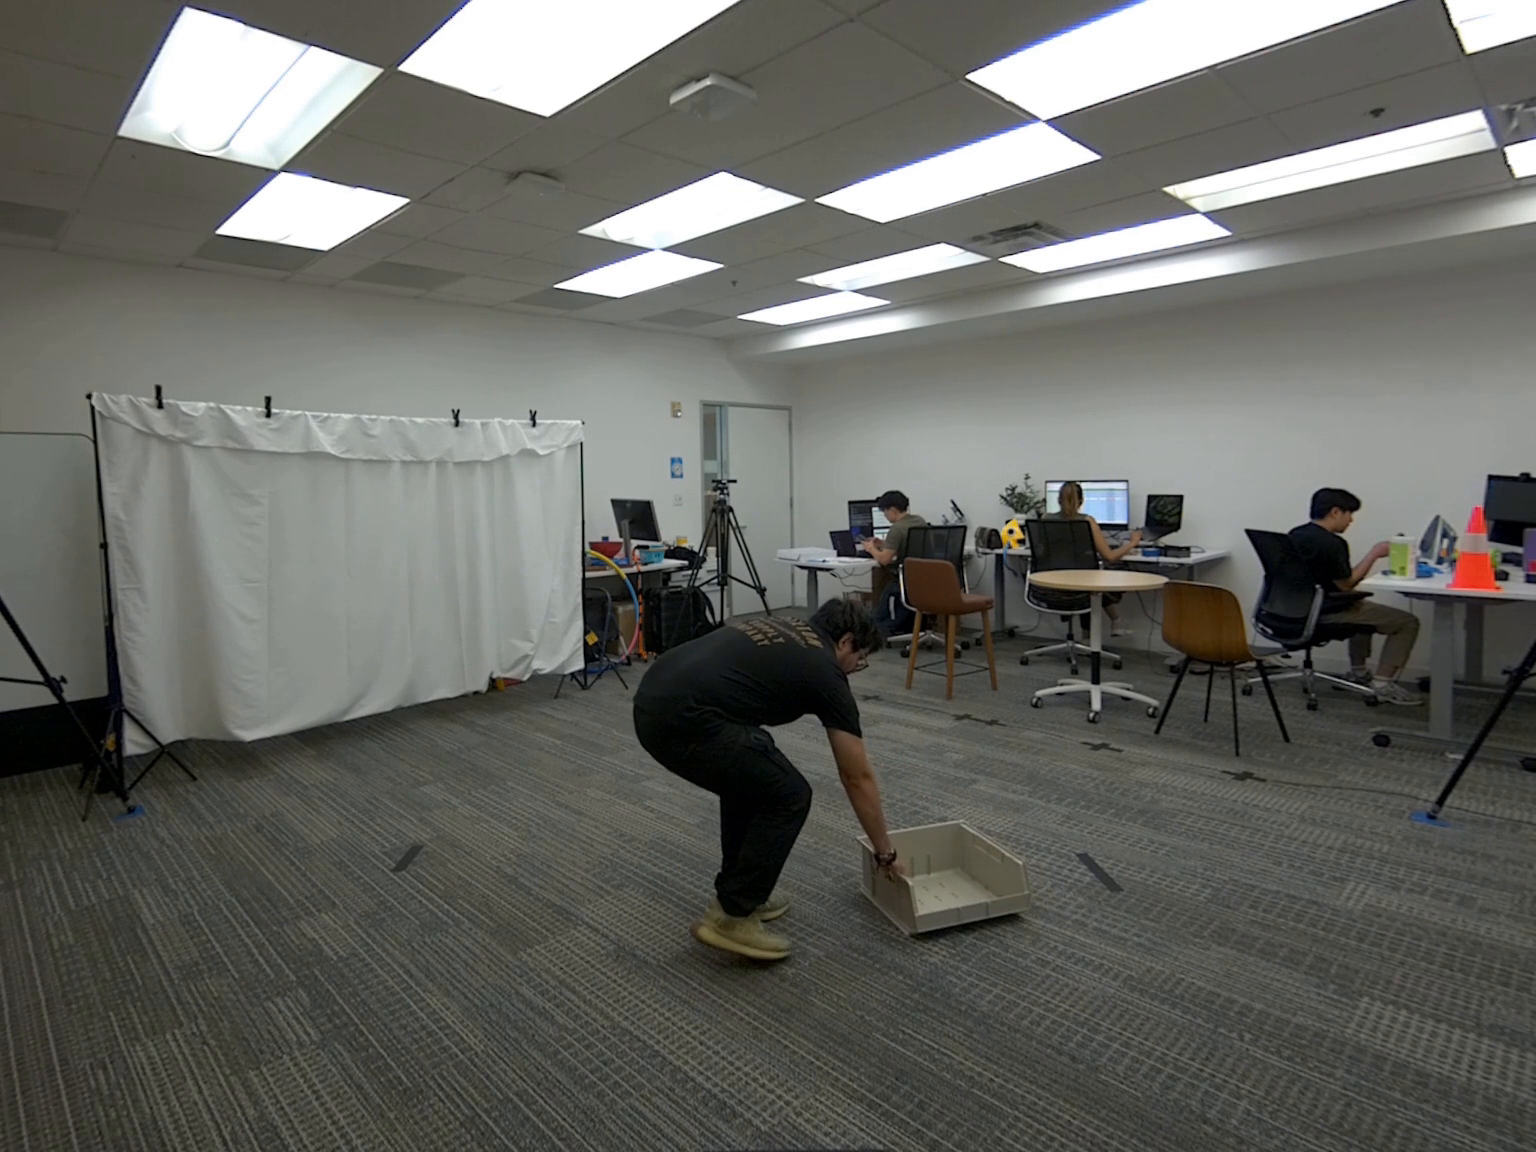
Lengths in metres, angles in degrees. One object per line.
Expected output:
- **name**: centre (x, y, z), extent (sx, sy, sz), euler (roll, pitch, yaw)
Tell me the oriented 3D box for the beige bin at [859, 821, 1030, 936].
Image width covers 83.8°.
- **beige bin**: centre (0.570, 0.982, 2.790), extent (0.415, 0.188, 0.385), euler (-4, 5, -20)
